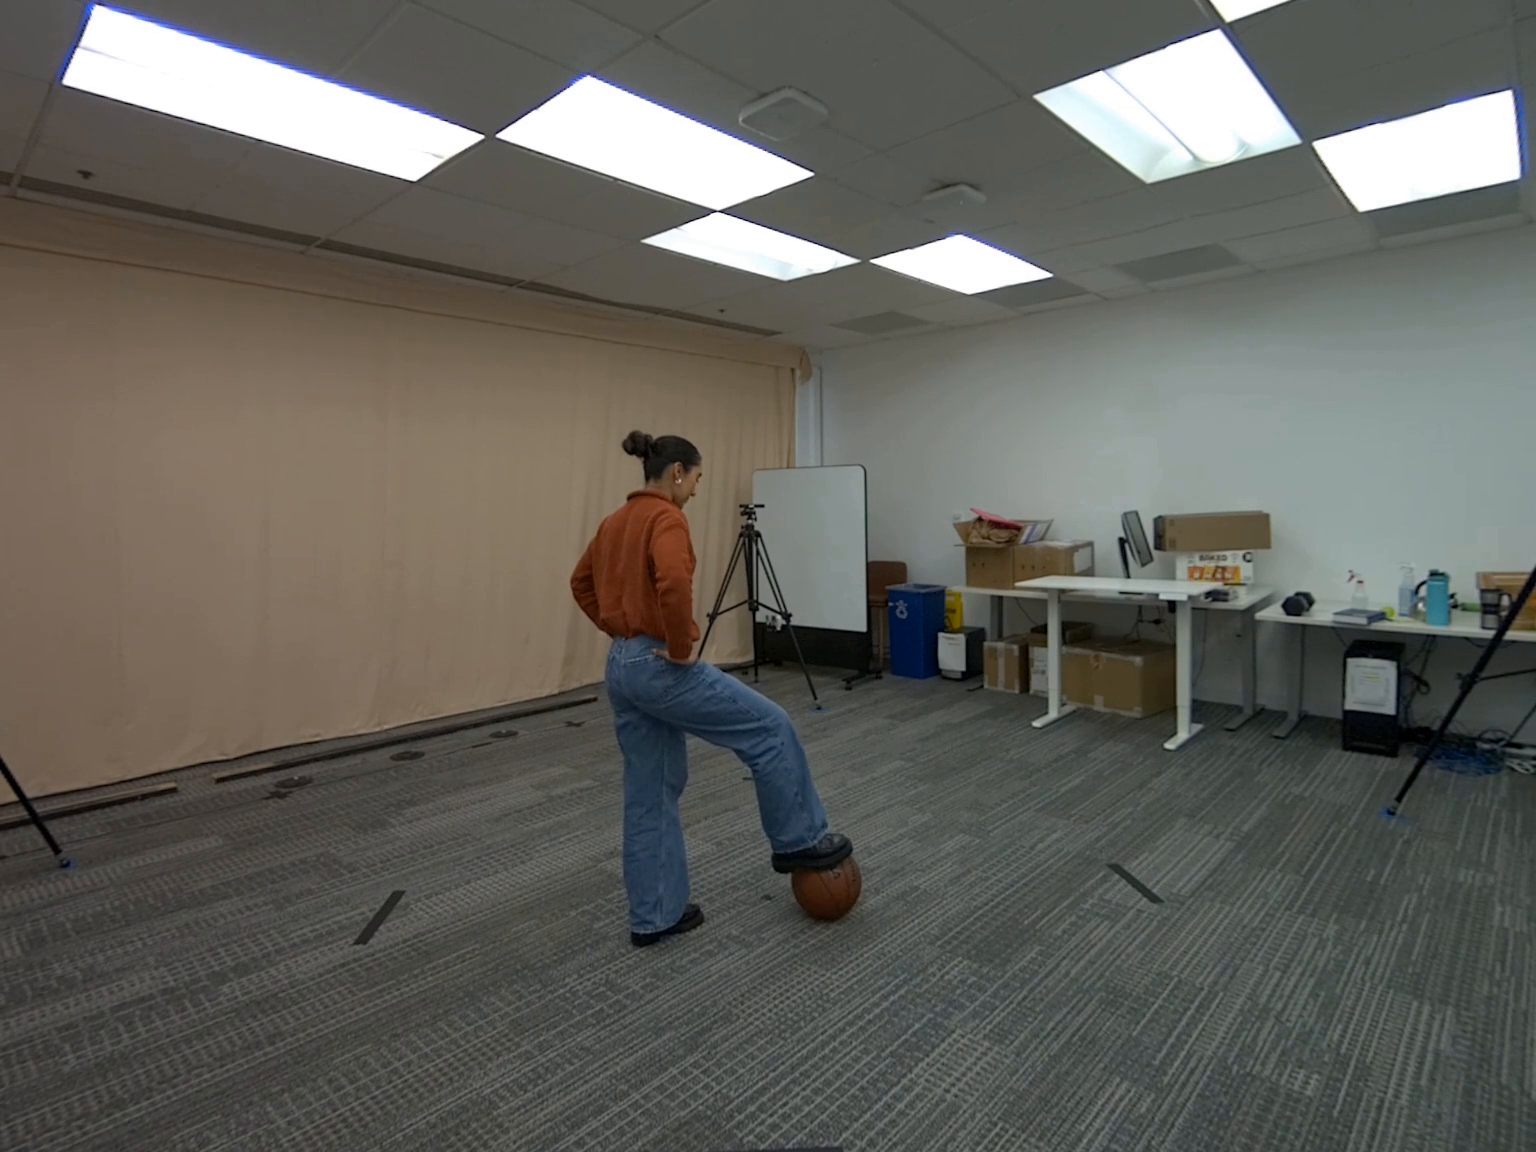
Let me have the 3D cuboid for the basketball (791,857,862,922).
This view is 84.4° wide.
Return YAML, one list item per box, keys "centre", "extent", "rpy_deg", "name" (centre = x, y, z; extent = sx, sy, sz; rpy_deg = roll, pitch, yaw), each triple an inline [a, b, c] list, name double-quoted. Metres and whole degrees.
- centre: [0.192, 1.030, 2.848]
  extent: [0.236, 0.235, 0.237]
  rpy_deg: [-1, 4, -2]
  name: "basketball"
